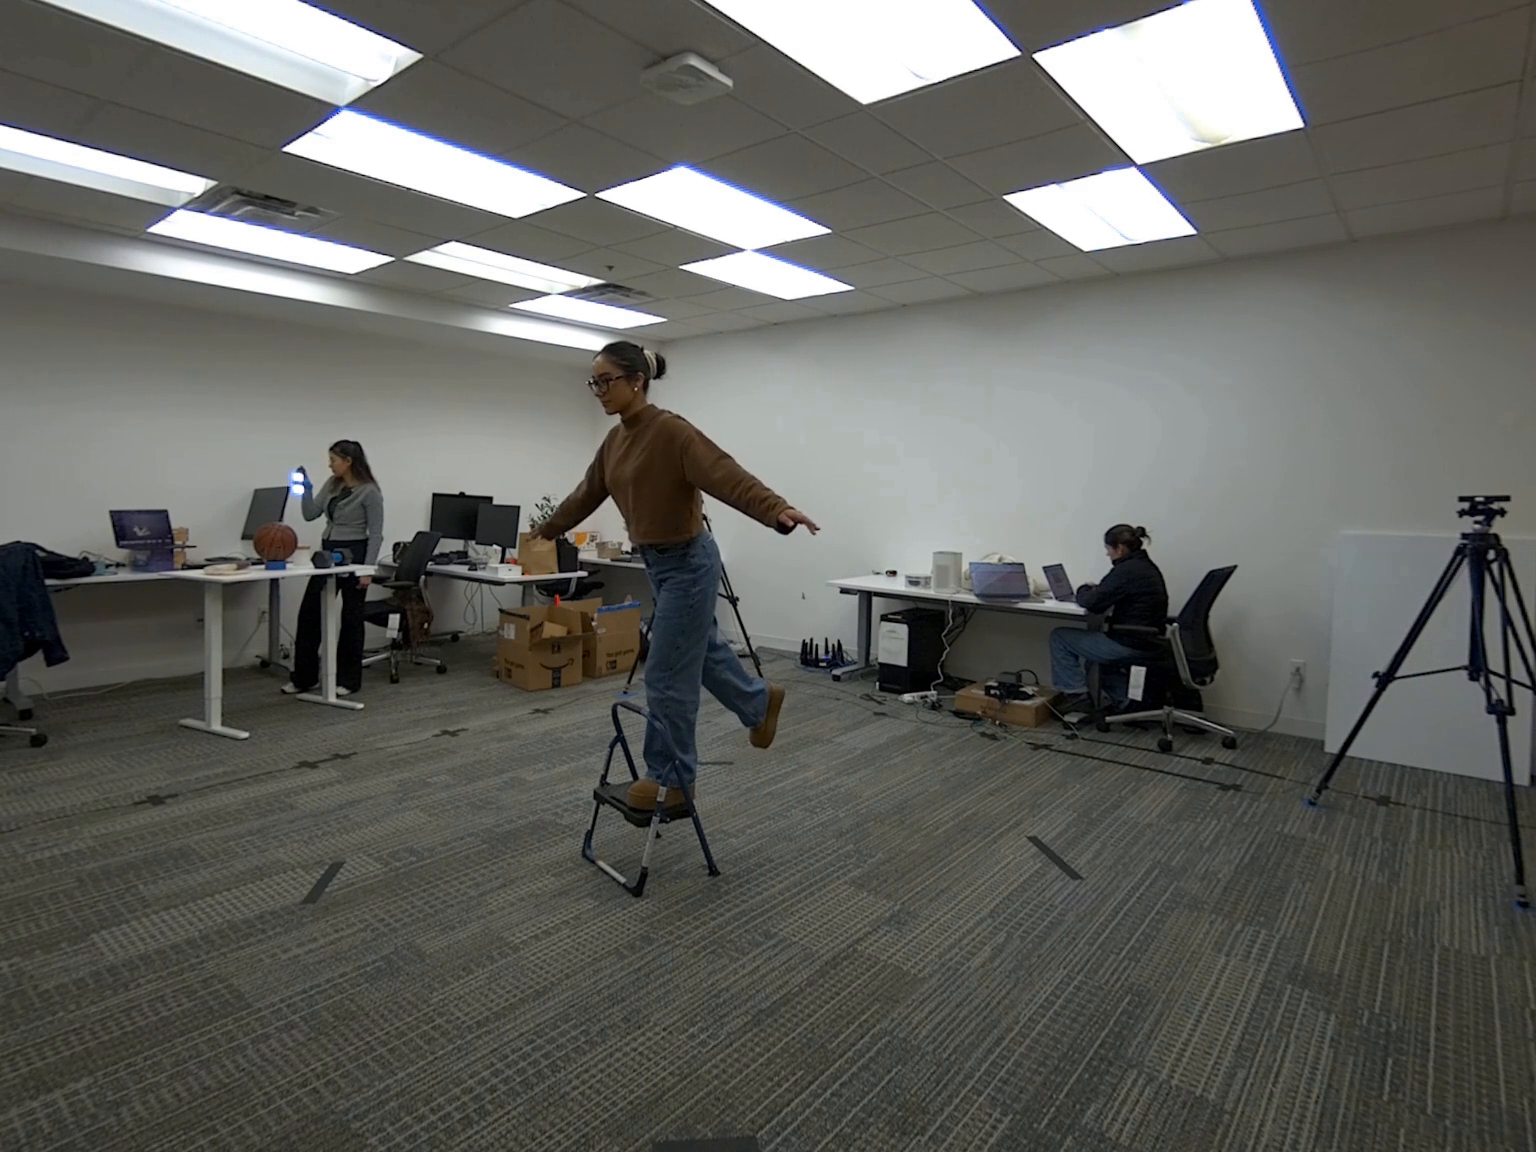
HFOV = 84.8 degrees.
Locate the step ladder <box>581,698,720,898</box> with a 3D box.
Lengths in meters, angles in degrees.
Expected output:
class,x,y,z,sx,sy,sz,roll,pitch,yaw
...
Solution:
class,x,y,z,sx,sy,sz,roll,pitch,yaw
step ladder,-0.446,0.760,3.117,0.339,0.604,0.445,-2,5,-39
